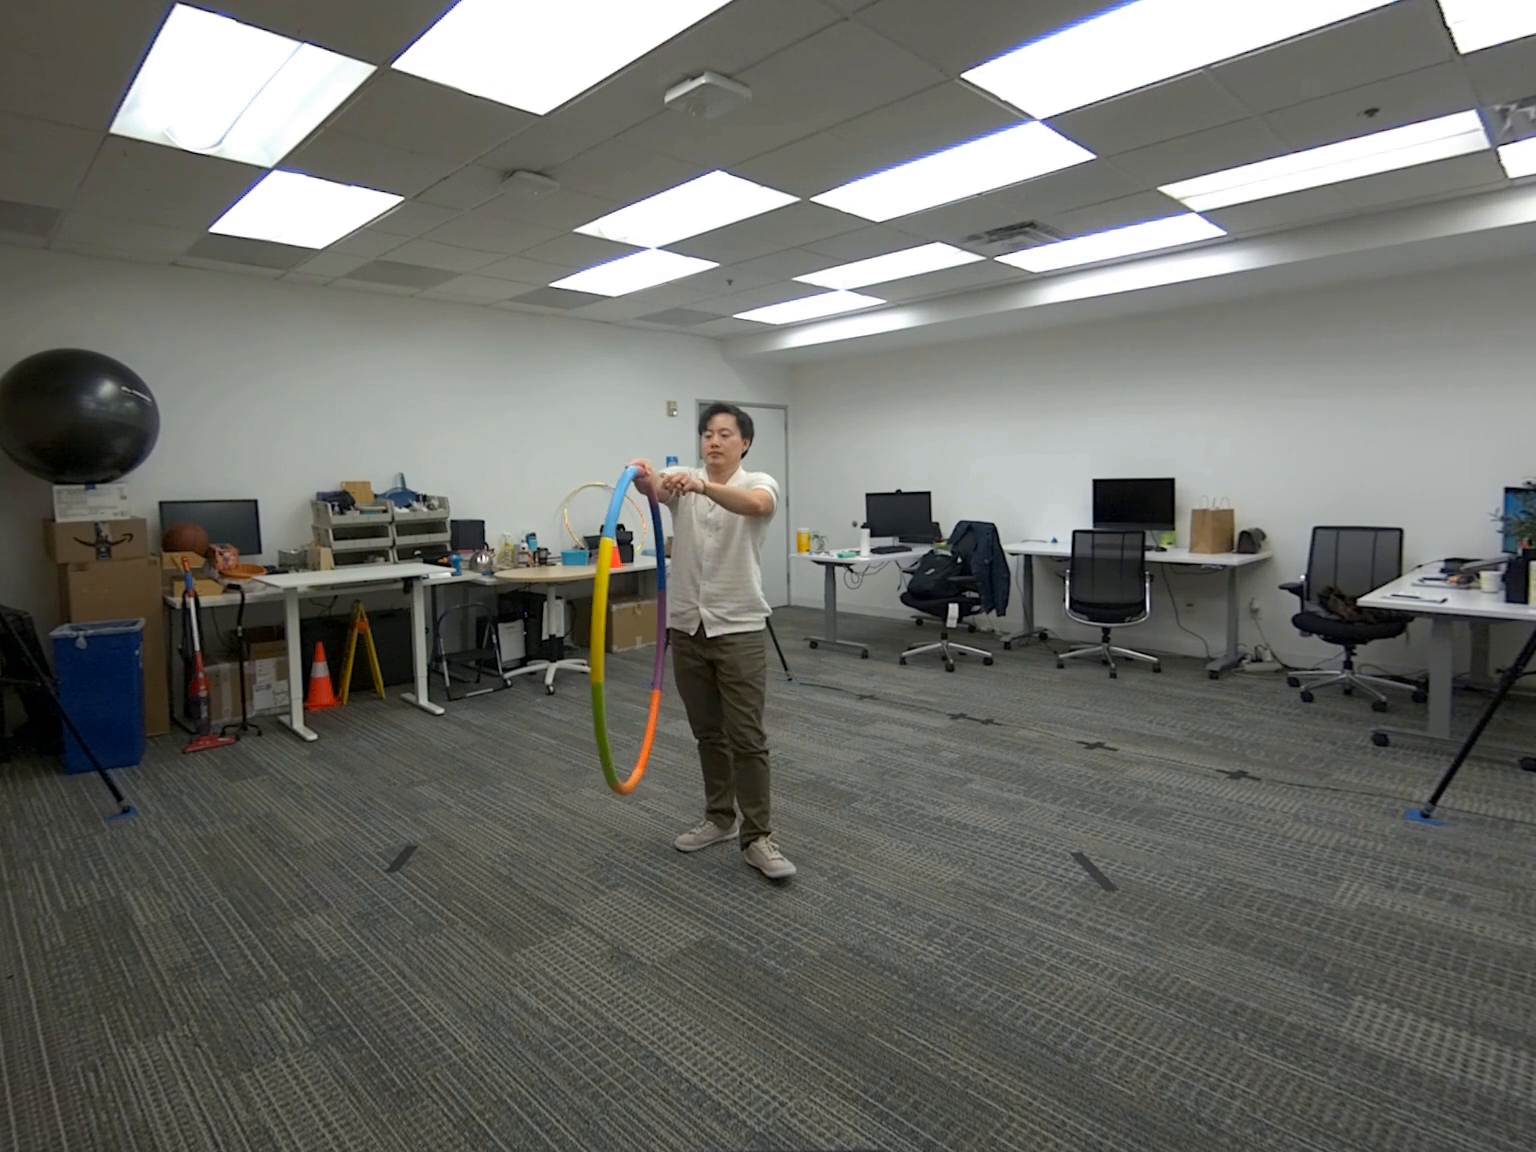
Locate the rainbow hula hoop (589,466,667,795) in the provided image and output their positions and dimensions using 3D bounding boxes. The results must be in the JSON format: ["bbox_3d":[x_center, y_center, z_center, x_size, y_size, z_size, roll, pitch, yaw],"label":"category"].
[{"bbox_3d":[-0.404,0.163,2.632,0.036,0.975,0.976,0,5,5],"label":"rainbow hula hoop"}]
